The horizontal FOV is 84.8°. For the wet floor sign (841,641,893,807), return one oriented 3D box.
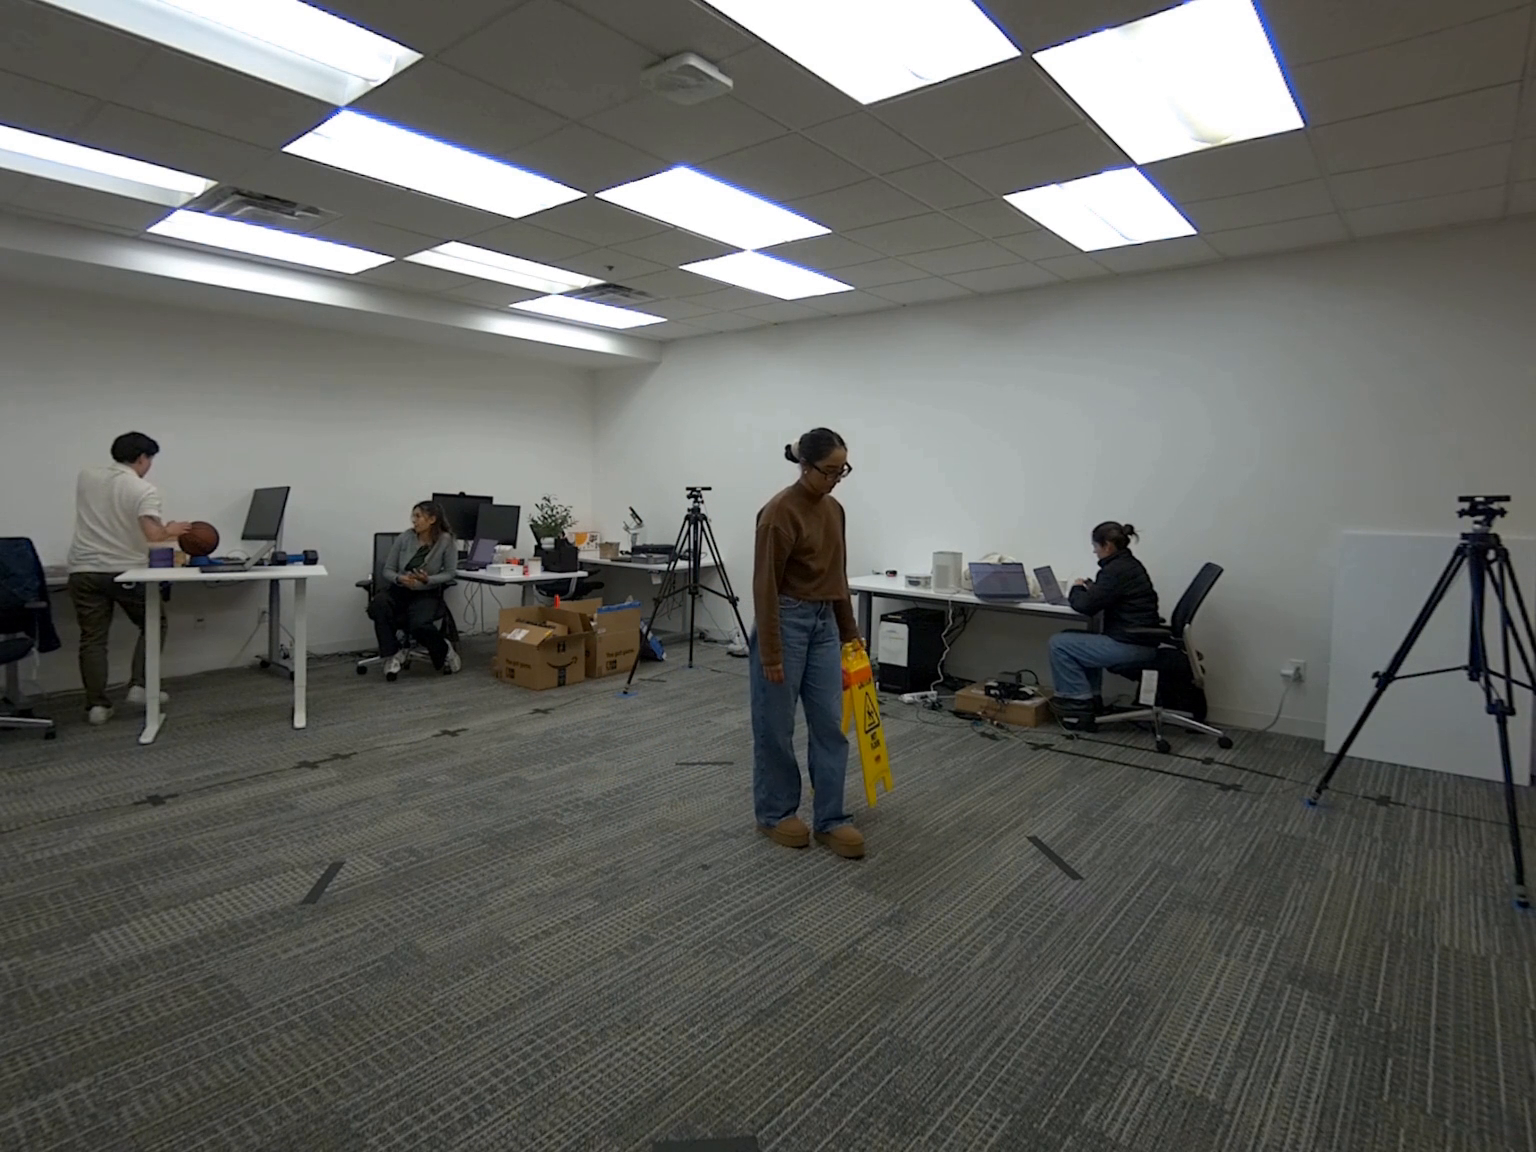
[{"bbox_3d":[0.355,0.592,3.615,0.298,0.644,0.275,1,3,30],"label":"wet floor sign"}]
